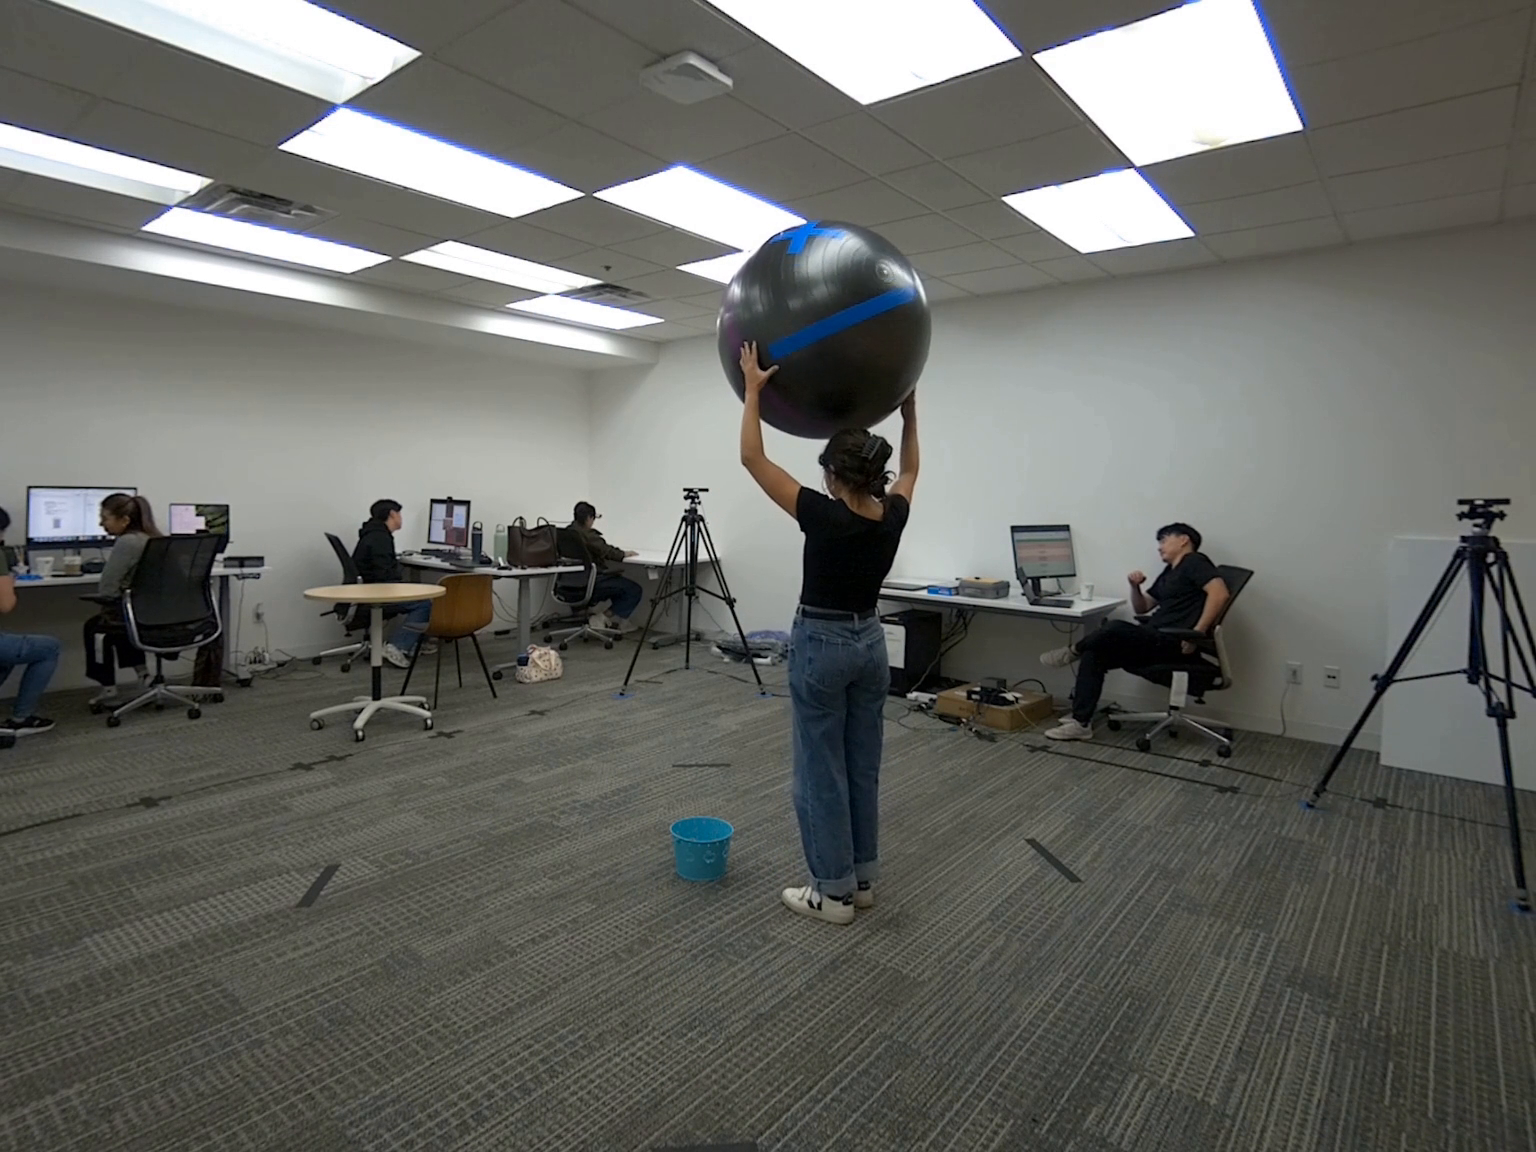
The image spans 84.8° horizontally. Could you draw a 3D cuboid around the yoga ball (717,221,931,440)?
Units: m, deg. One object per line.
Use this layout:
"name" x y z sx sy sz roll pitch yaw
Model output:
"yoga ball" 0.190 -0.869 3.049 0.757 0.756 0.762 1 4 -2
